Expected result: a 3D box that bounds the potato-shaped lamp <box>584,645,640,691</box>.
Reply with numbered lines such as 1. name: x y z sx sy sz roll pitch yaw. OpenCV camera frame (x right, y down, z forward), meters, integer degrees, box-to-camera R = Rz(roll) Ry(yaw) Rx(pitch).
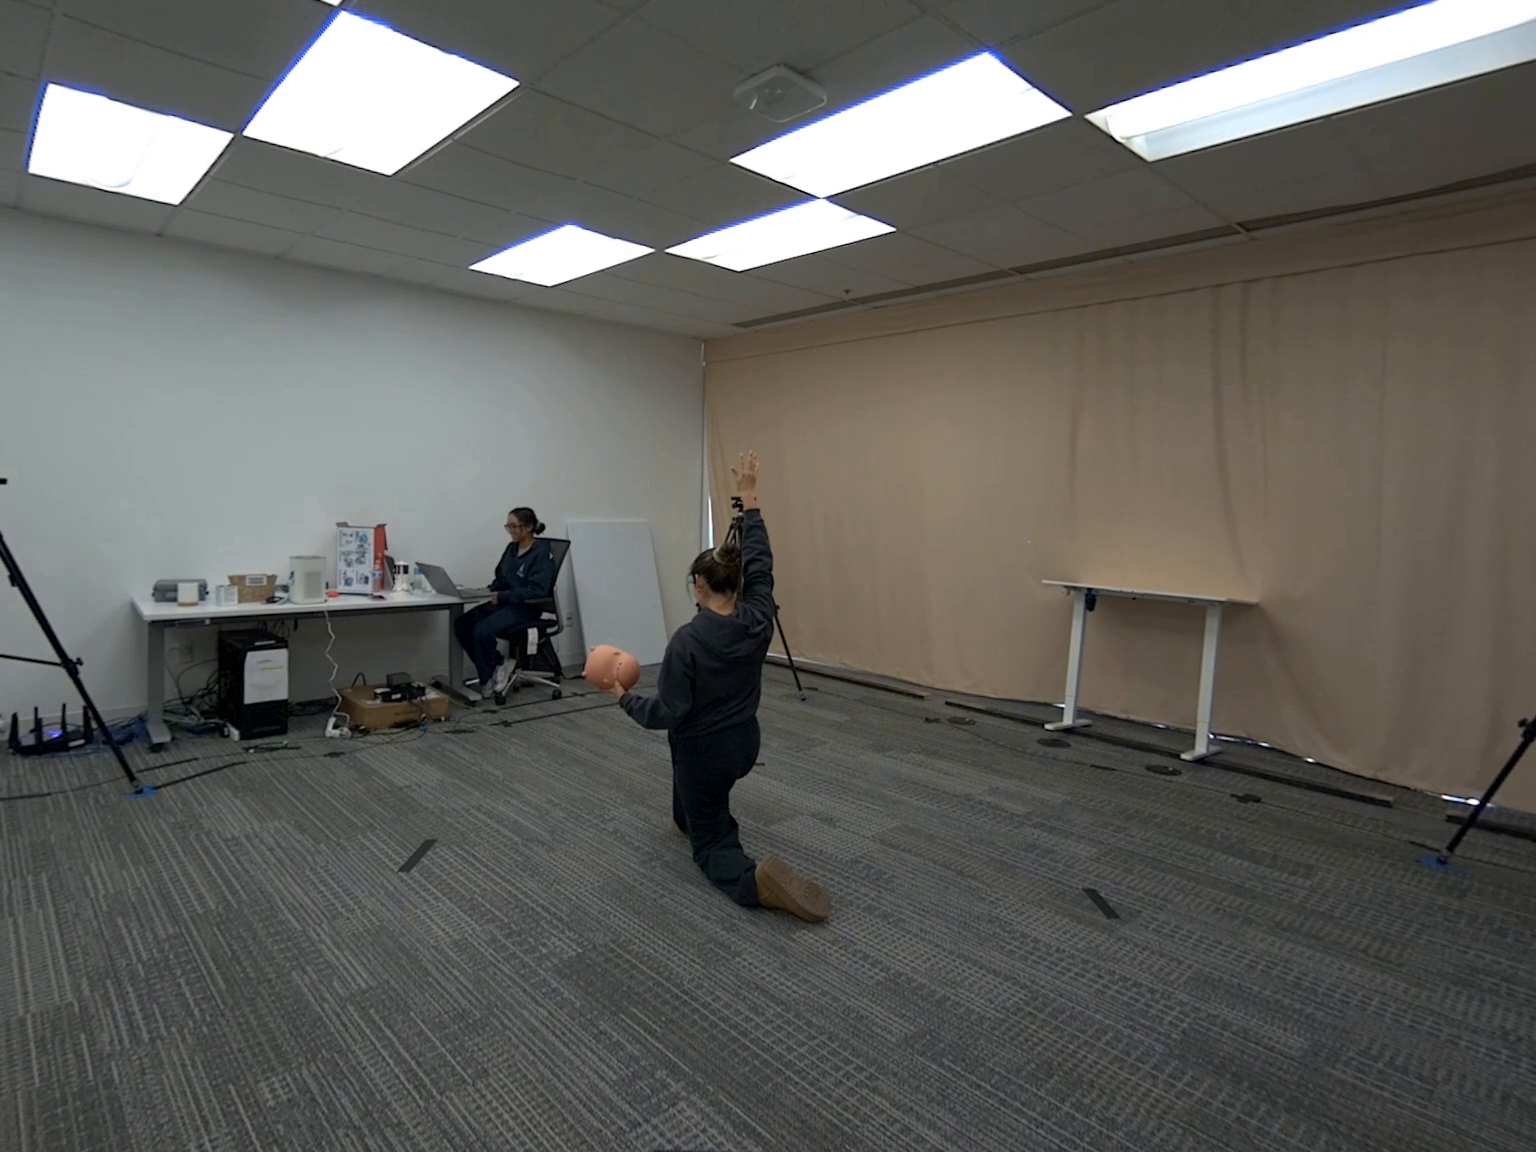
1. potato-shaped lamp: -0.591 0.357 3.225 0.201 0.166 0.167 10 -19 20
